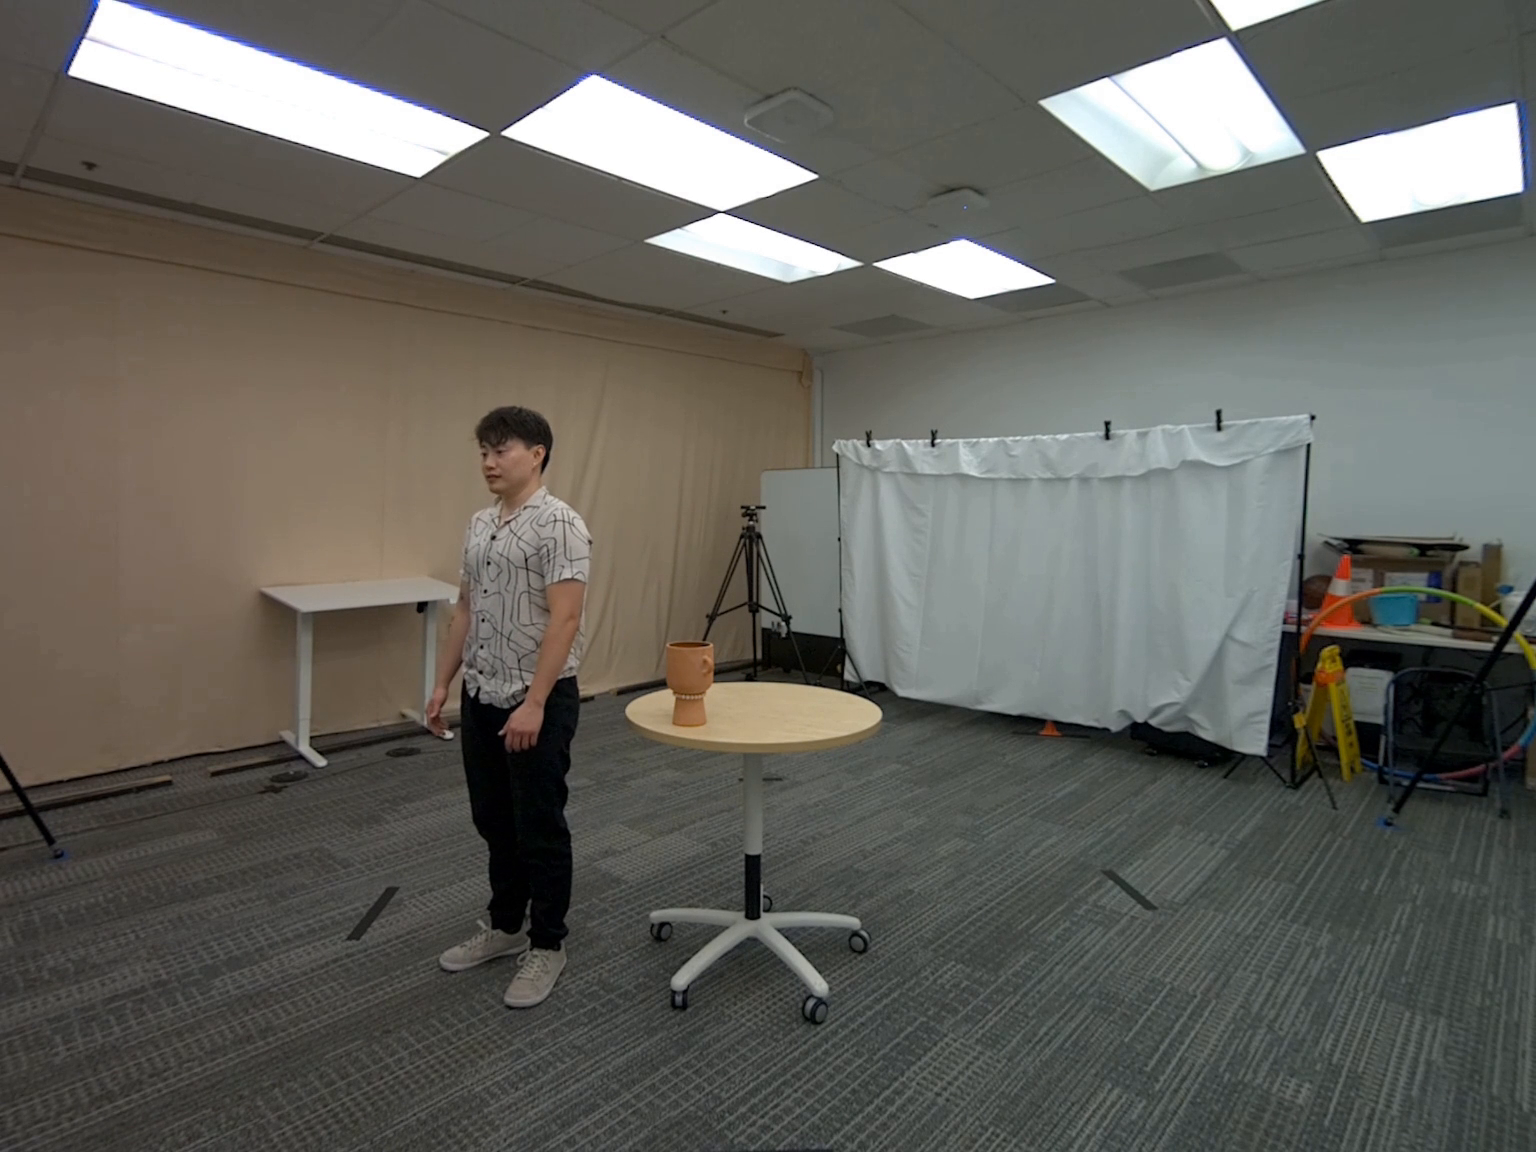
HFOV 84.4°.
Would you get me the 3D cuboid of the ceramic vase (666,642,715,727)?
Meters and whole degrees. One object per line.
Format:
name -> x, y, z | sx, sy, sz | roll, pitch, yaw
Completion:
ceramic vase -> -0.218, 0.307, 2.336 | 0.134, 0.219, 0.159 | -1, 4, -3
